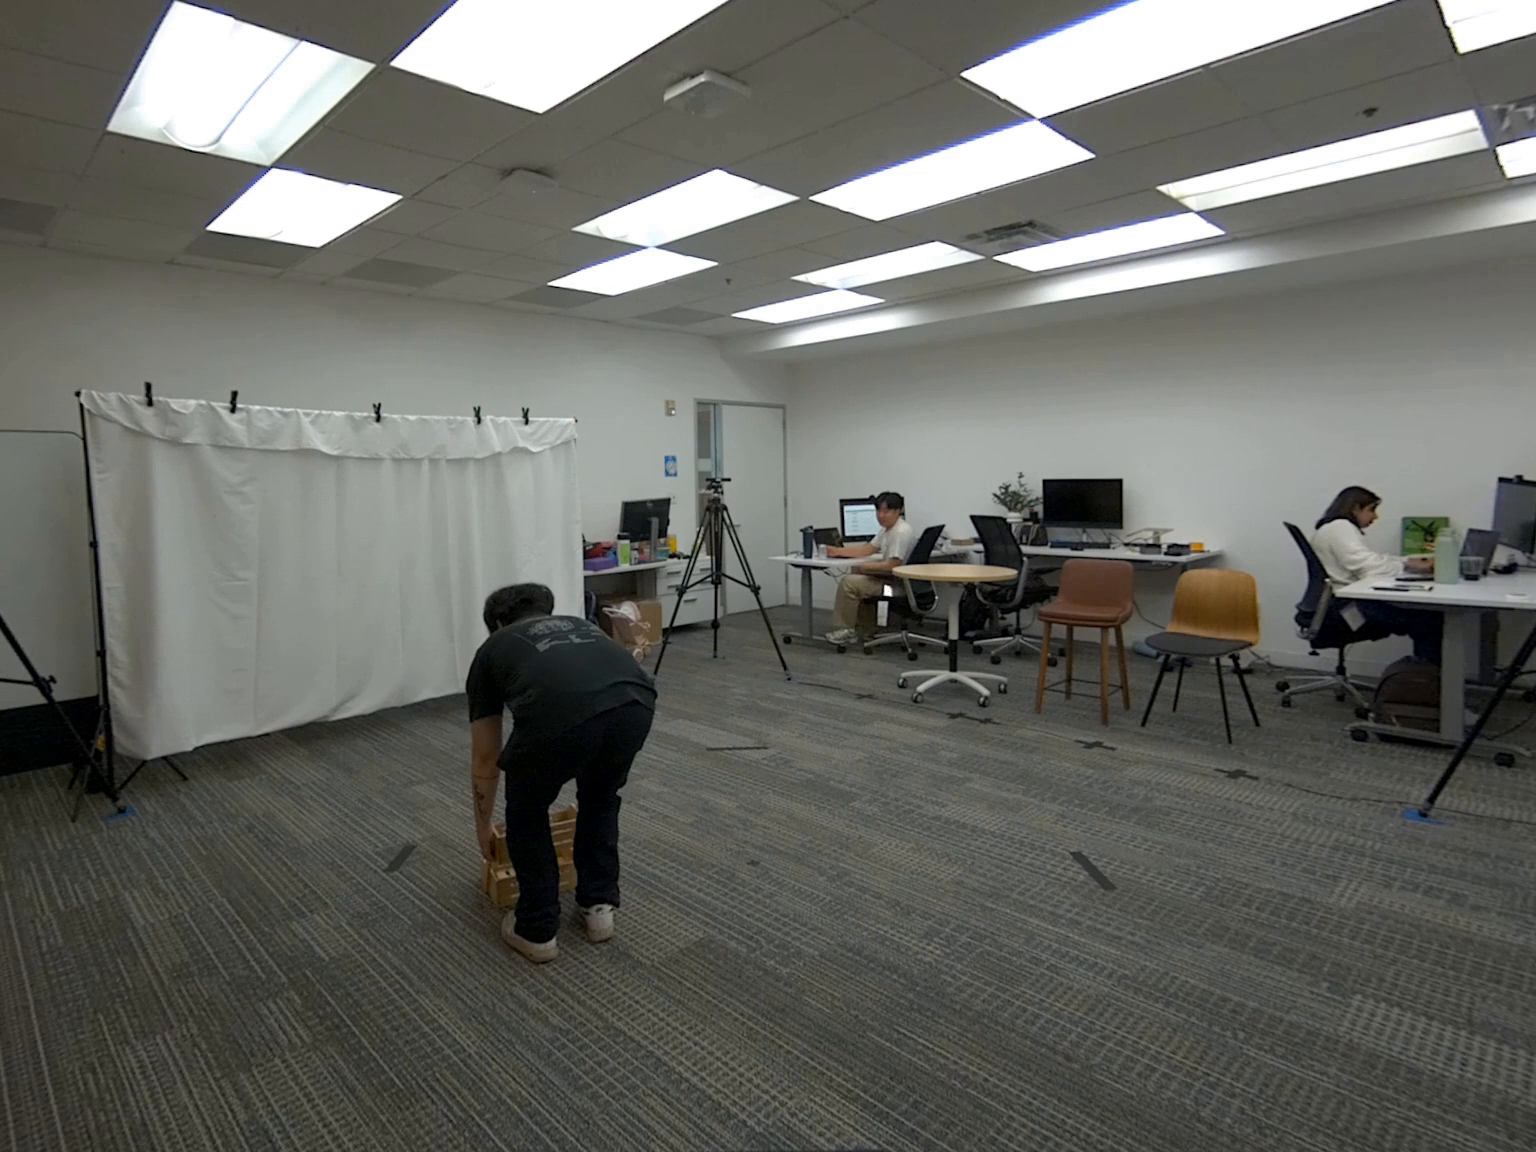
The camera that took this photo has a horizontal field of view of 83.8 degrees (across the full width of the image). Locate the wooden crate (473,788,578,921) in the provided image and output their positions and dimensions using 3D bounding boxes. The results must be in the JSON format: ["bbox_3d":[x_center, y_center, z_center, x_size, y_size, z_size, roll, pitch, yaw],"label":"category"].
[{"bbox_3d":[-0.814,0.943,2.959,0.317,0.272,0.310,-5,7,-30],"label":"wooden crate"}]
